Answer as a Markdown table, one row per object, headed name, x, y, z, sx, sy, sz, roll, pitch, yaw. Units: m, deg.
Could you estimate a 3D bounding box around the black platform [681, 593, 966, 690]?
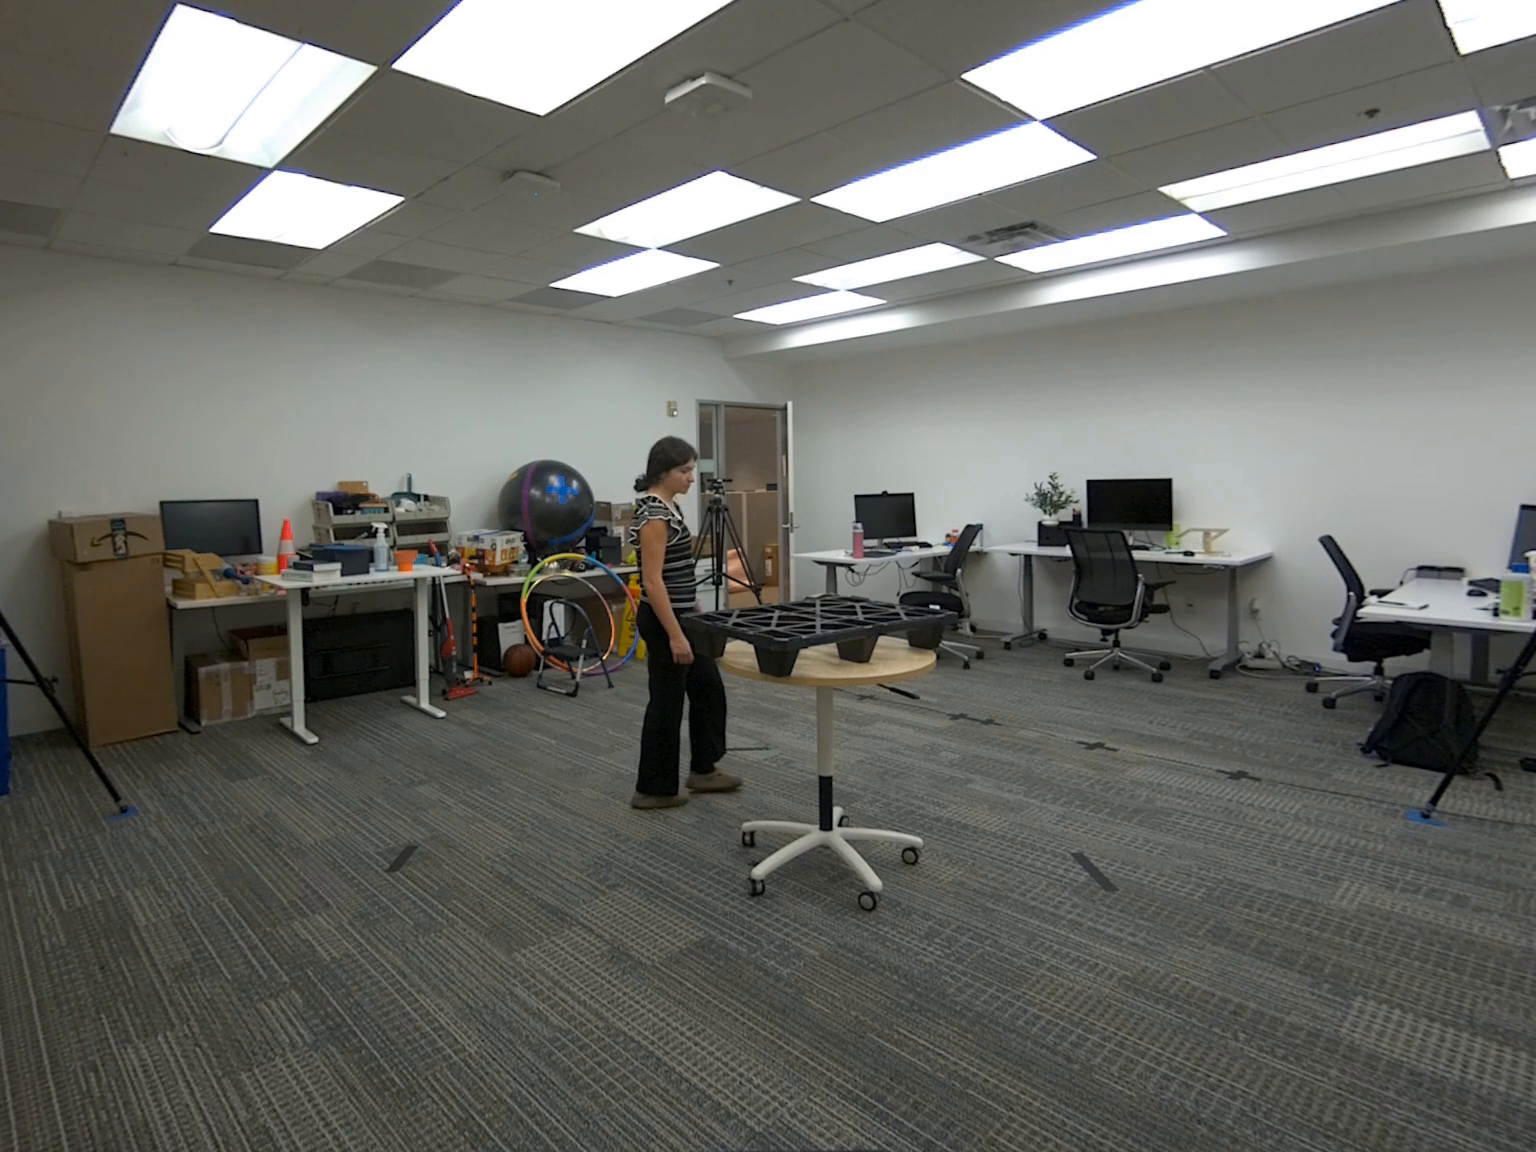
| name | x | y | z | sx | sy | sz | roll | pitch | yaw |
| --- | --- | --- | --- | --- | --- | --- | --- | --- | --- |
| black platform | 0.187 | 0.205 | 3.036 | 0.785 | 0.142 | 0.624 | -6 | 9 | -35 |
